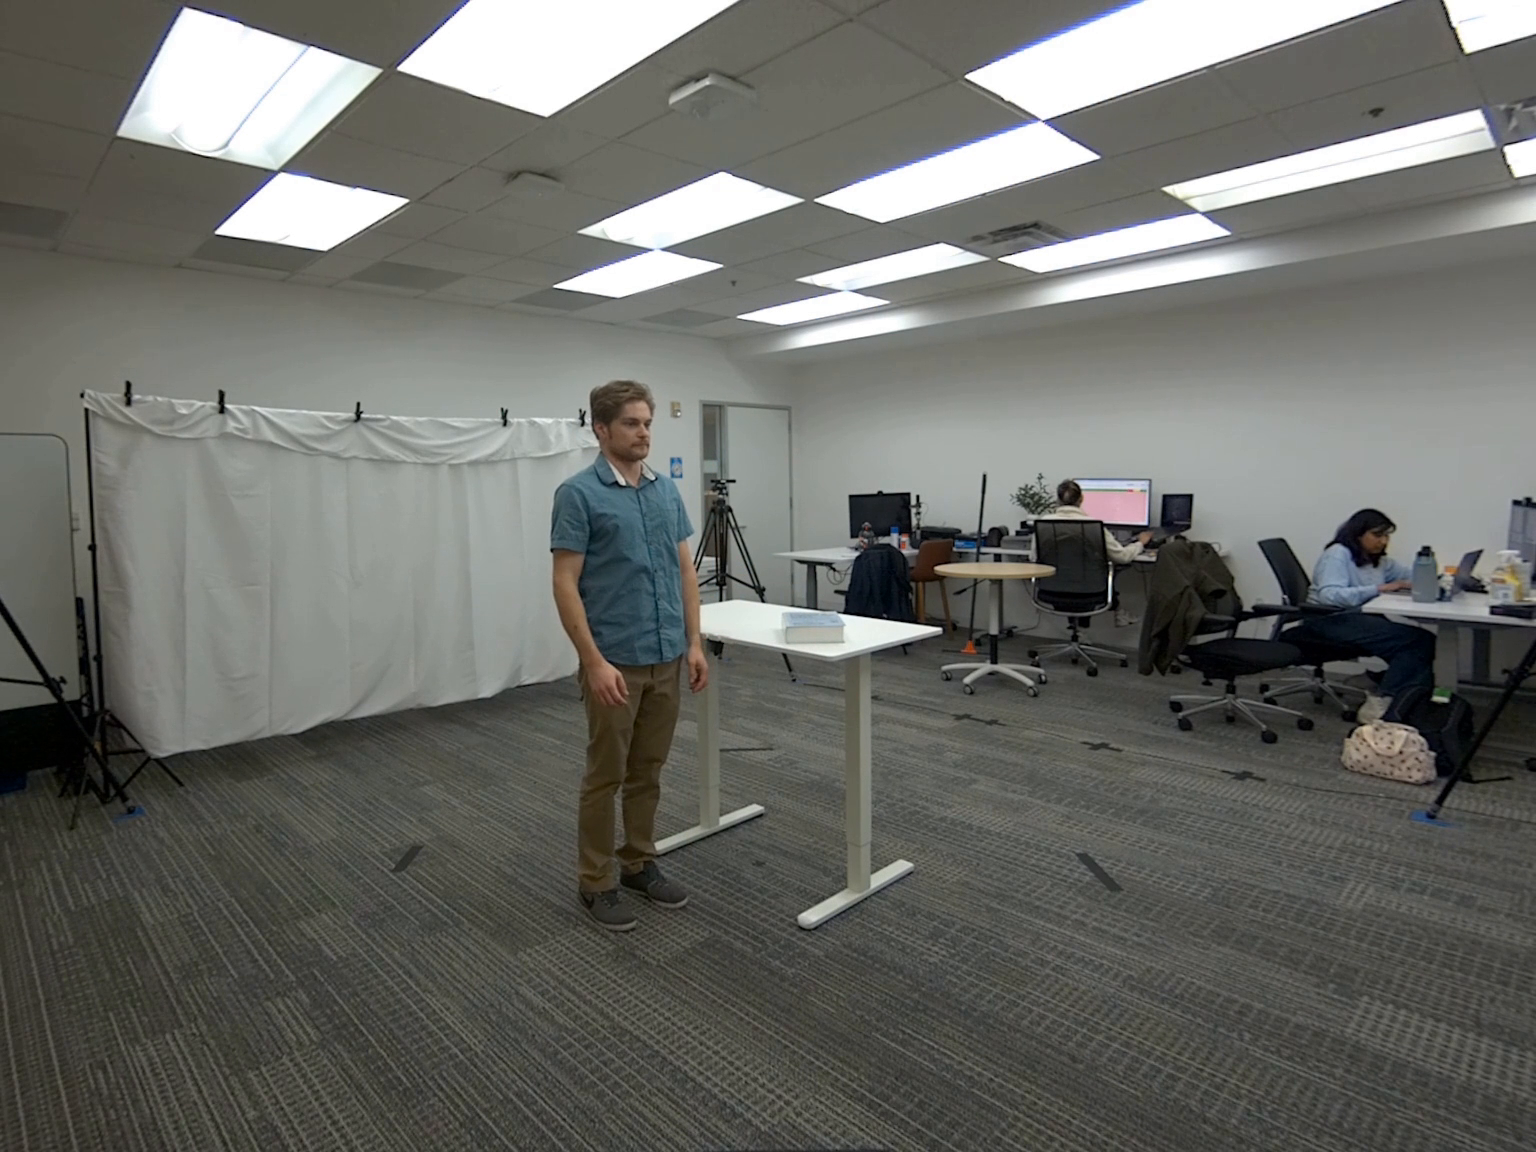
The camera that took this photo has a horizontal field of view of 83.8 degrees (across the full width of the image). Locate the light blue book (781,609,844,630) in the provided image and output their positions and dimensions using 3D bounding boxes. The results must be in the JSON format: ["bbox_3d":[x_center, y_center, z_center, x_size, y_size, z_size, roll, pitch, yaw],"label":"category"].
[{"bbox_3d":[0.148,0.168,2.813,0.191,0.059,0.262,-1,6,-2],"label":"light blue book"}]
